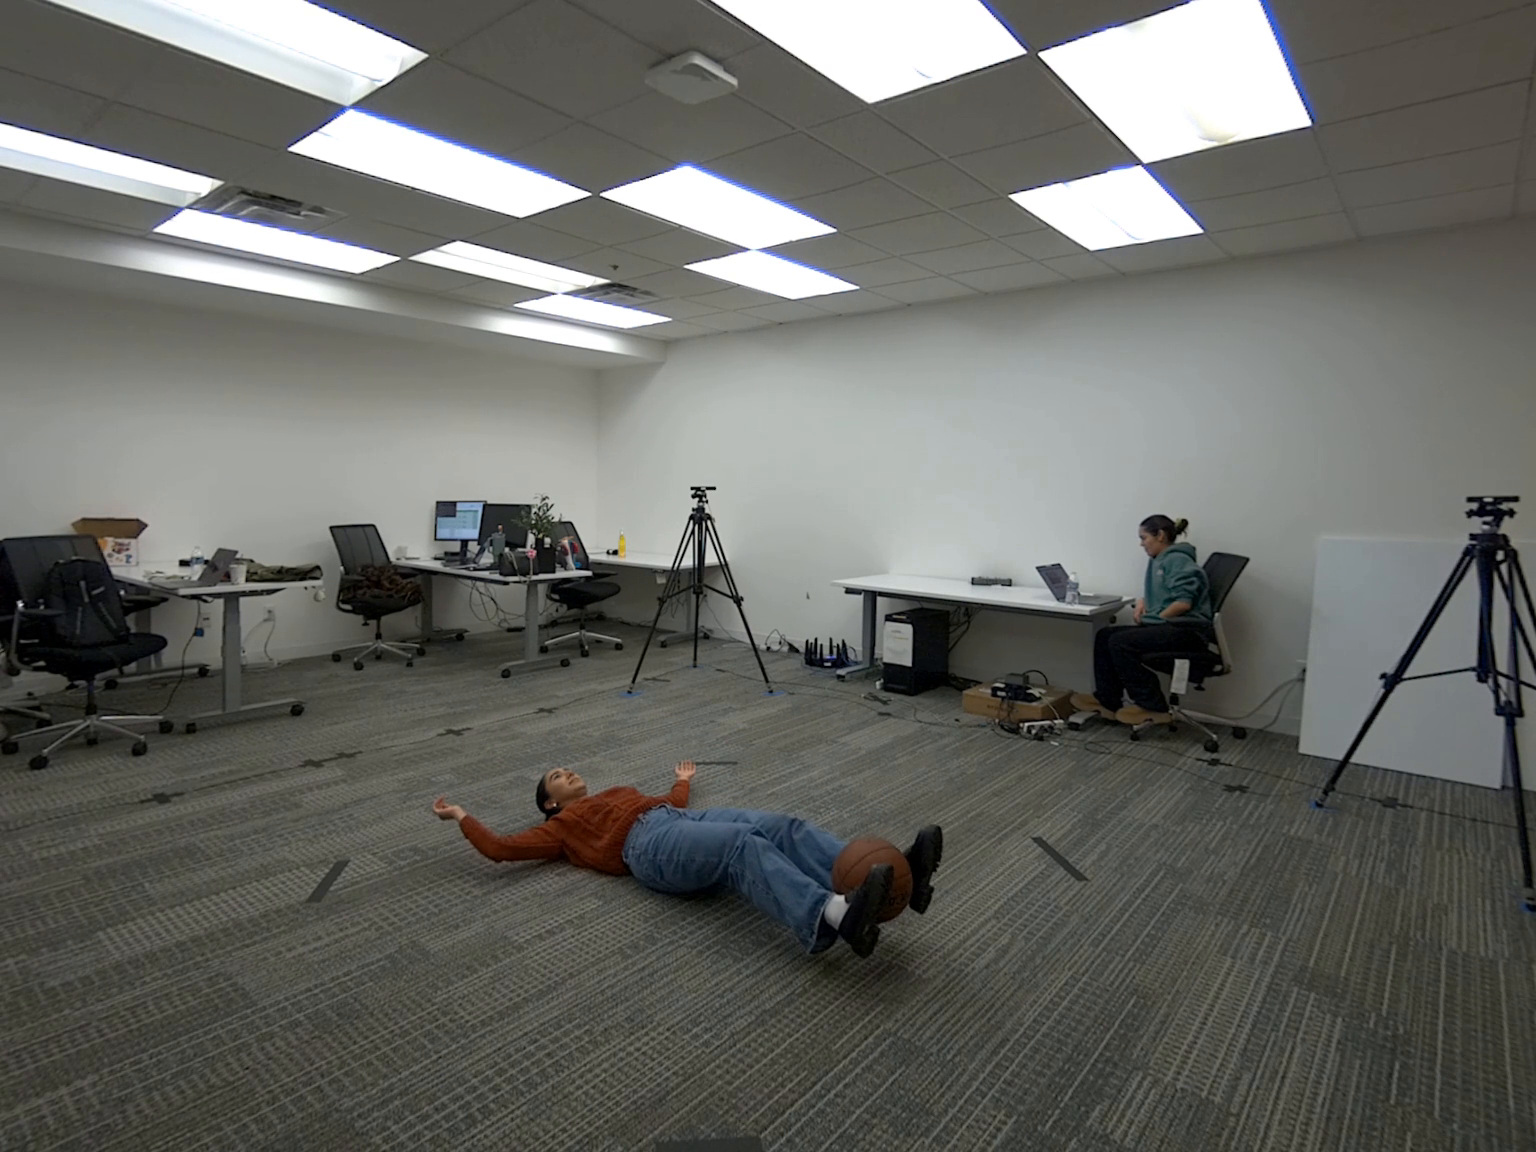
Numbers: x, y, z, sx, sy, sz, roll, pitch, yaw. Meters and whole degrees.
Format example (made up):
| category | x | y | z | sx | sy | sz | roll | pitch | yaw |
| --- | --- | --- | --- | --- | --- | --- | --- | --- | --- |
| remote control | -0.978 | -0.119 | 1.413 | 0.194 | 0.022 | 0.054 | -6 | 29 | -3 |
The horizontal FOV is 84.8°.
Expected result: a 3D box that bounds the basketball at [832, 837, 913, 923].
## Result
| category | x | y | z | sx | sy | sz | roll | pitch | yaw |
| --- | --- | --- | --- | --- | --- | --- | --- | --- | --- |
| basketball | 0.309 | 0.898 | 2.514 | 0.236 | 0.235 | 0.237 | -3 | 3 | -2 |
